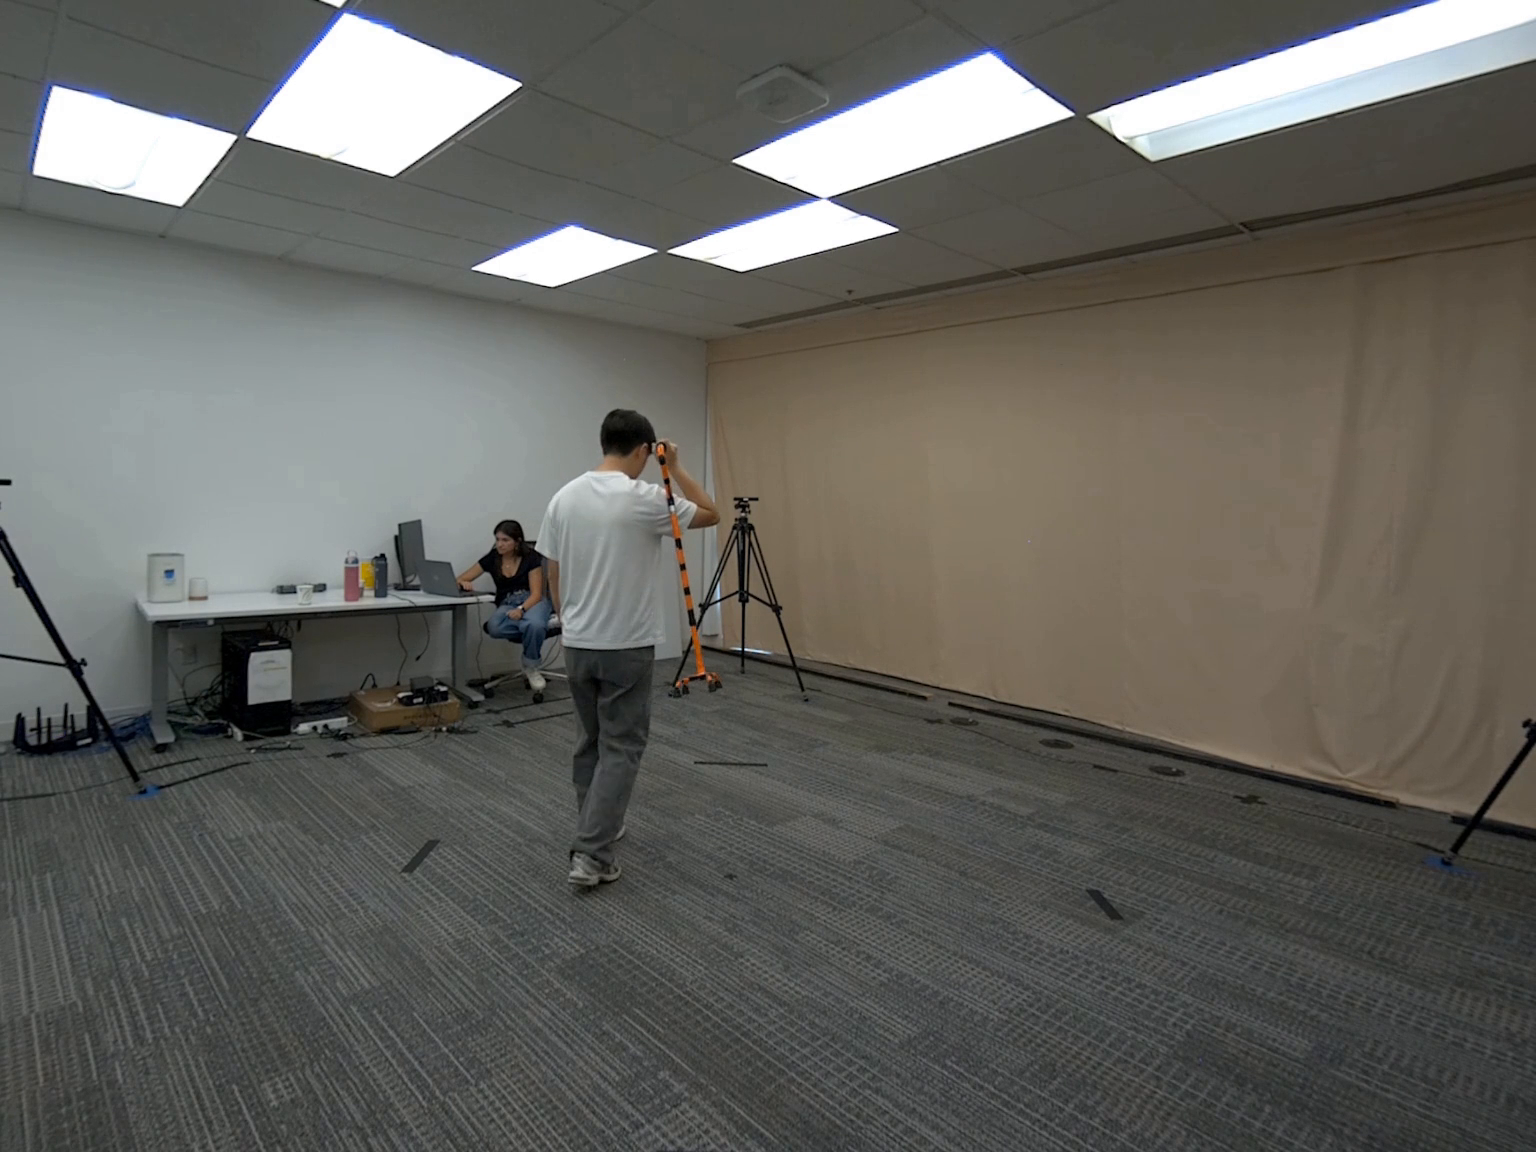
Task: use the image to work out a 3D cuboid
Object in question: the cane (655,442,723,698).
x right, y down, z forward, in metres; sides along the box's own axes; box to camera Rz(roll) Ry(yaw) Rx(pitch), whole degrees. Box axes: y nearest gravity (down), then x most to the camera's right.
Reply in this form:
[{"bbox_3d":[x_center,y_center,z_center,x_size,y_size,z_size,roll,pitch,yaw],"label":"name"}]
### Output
[{"bbox_3d":[-0.332,-0.032,3.005,0.152,0.913,0.205,-8,-7,1],"label":"cane"}]
